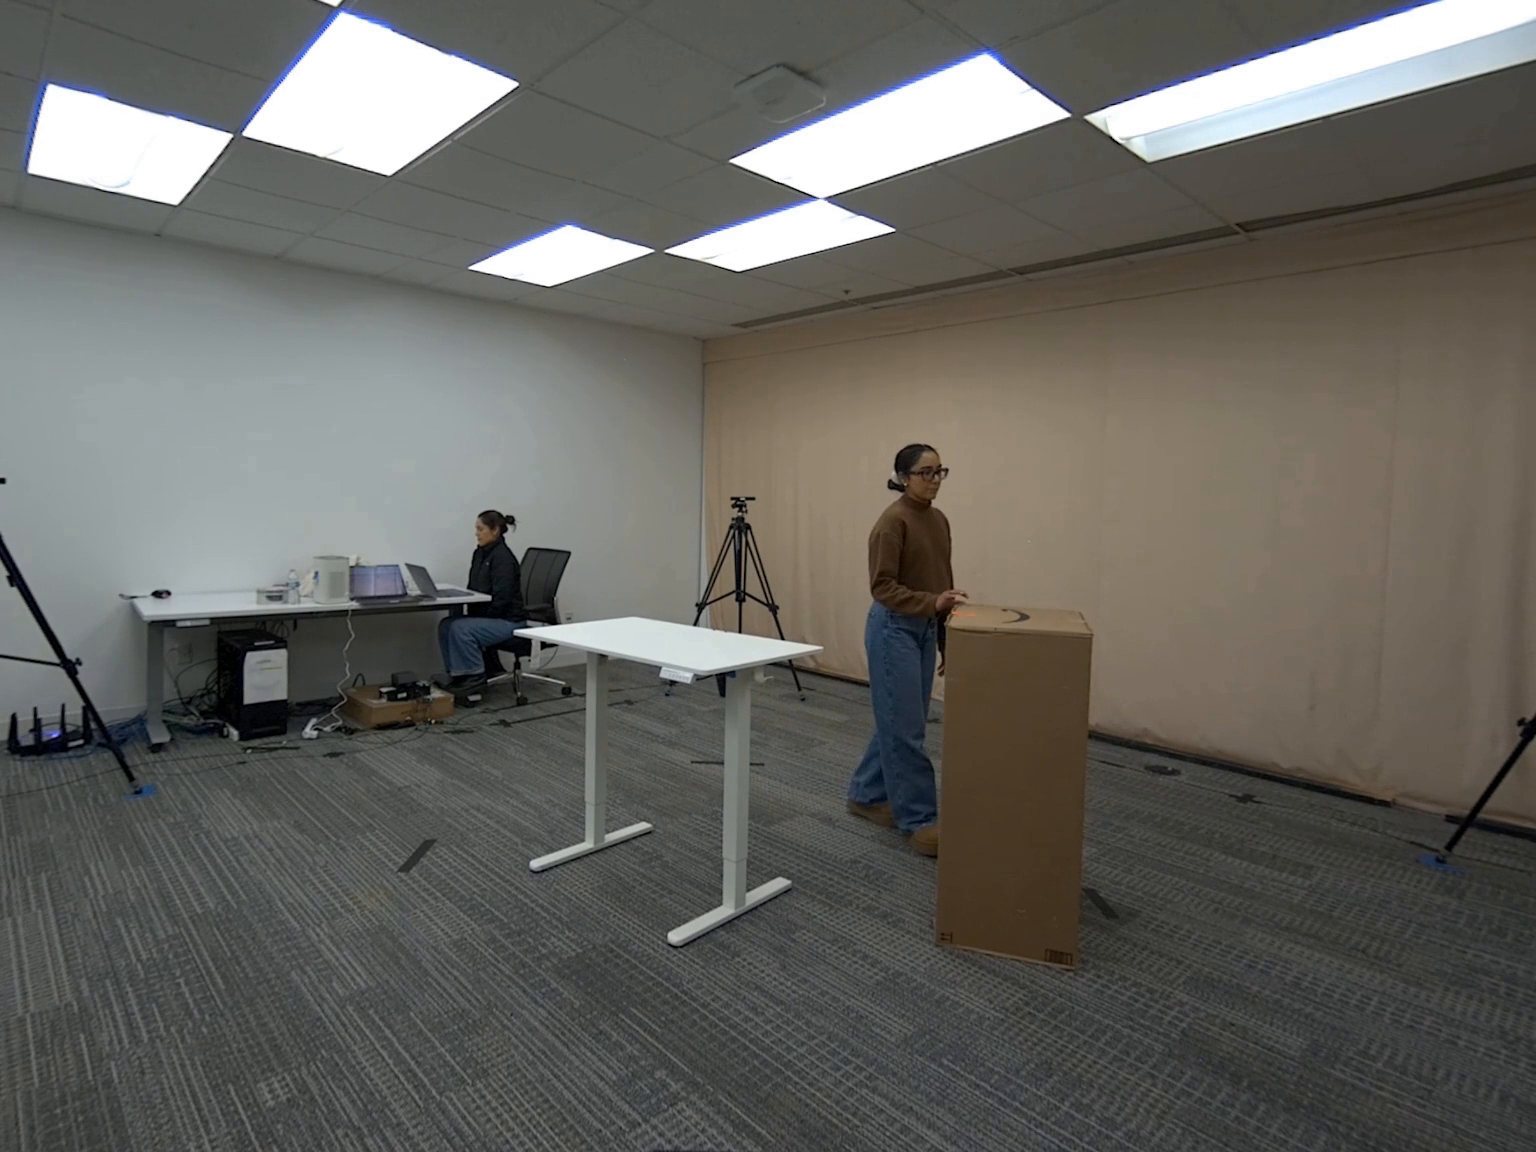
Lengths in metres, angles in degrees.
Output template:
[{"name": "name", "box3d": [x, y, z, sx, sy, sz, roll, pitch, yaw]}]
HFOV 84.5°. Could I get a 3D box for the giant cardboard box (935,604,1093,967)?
[{"name": "giant cardboard box", "box3d": [0.812, 0.645, 2.831, 0.432, 1.023, 0.570, 3, 4, 17]}]
